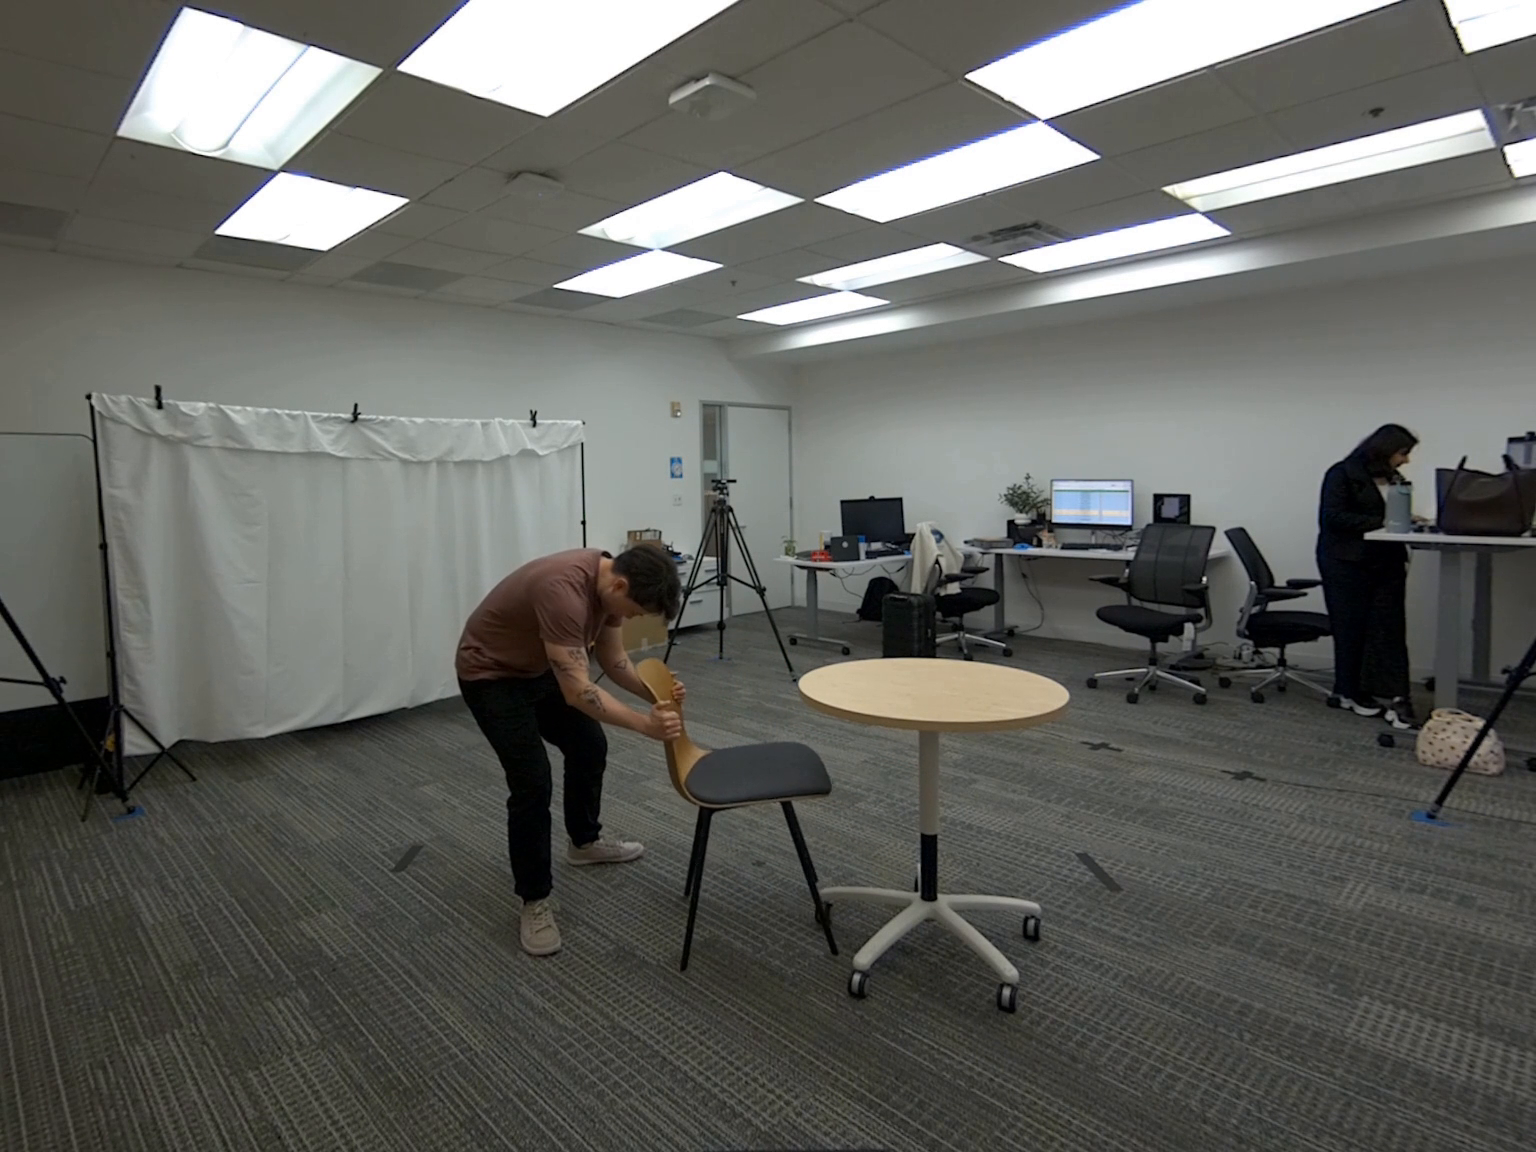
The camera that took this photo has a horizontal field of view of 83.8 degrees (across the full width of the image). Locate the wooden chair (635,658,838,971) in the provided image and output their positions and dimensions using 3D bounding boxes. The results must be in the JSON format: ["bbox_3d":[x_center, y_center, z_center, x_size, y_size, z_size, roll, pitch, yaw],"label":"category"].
[{"bbox_3d":[-0.069,0.657,2.631,0.523,0.875,0.480,-9,3,-2],"label":"wooden chair"}]
